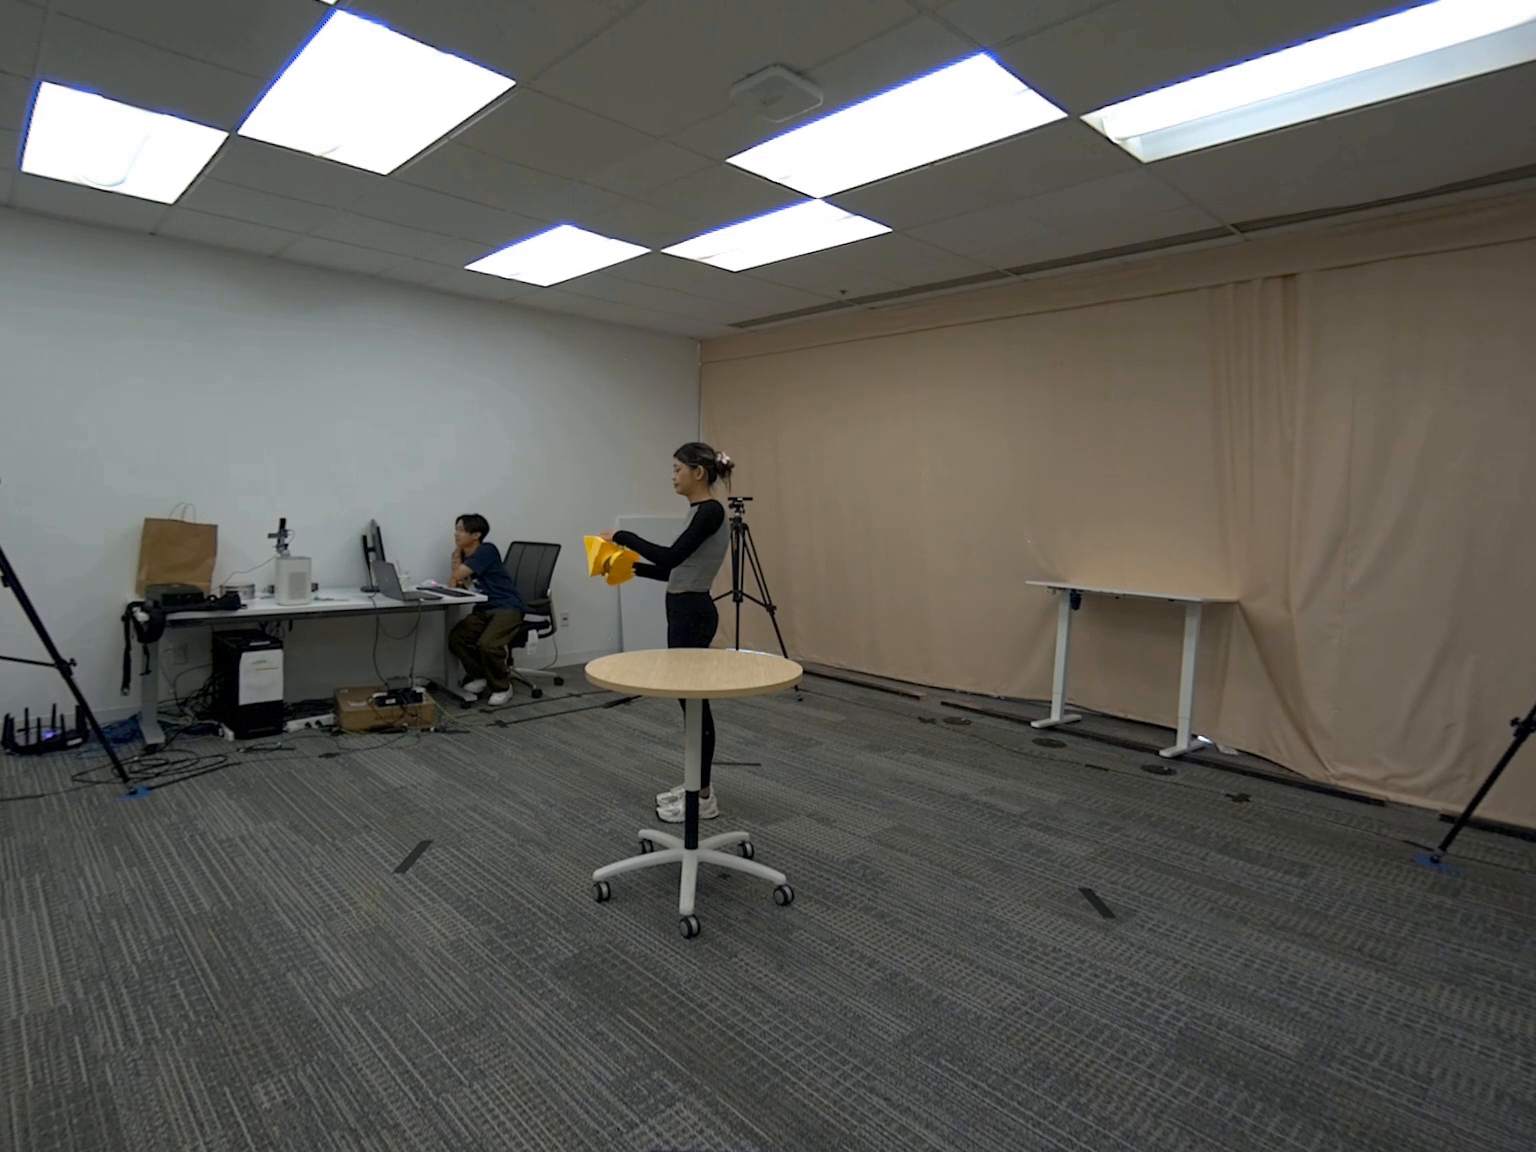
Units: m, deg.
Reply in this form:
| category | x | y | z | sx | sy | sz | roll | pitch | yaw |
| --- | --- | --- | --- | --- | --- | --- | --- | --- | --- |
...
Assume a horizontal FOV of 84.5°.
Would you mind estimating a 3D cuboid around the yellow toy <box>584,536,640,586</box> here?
| category | x | y | z | sx | sy | sz | roll | pitch | yaw |
| --- | --- | --- | --- | --- | --- | --- | --- | --- | --- |
| yellow toy | -0.696 | -0.109 | 3.672 | 0.189 | 0.203 | 0.237 | -14 | 51 | -44 |
